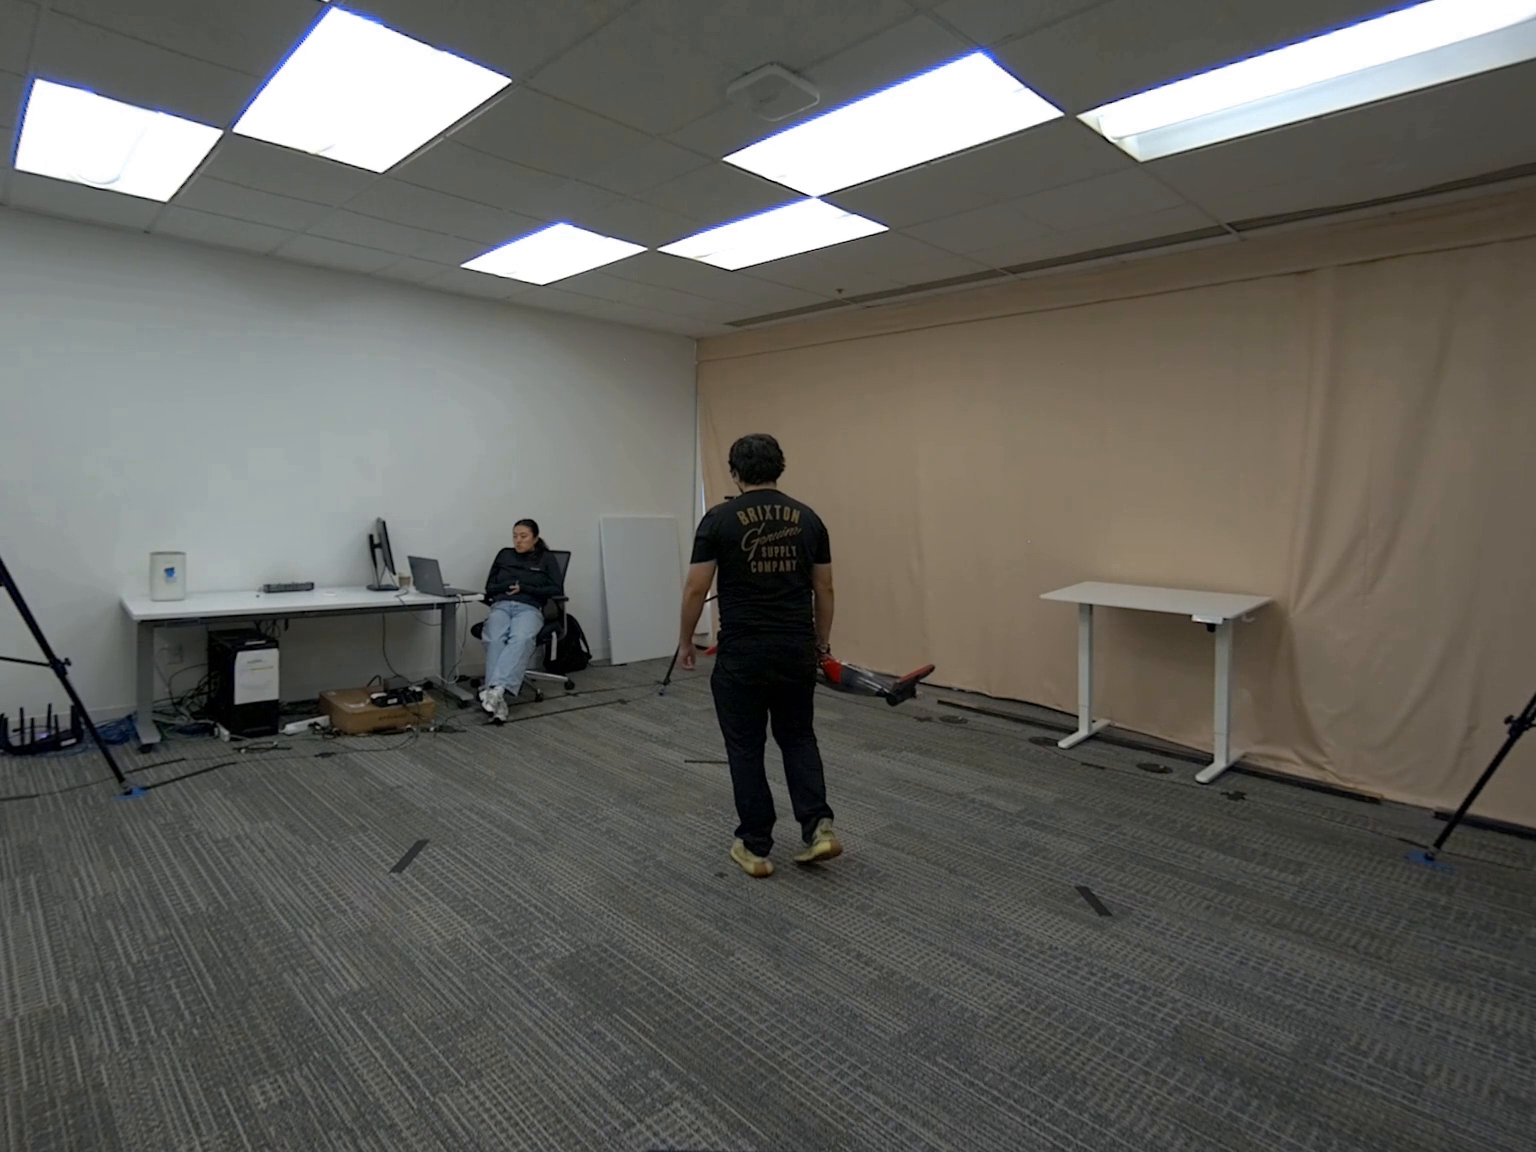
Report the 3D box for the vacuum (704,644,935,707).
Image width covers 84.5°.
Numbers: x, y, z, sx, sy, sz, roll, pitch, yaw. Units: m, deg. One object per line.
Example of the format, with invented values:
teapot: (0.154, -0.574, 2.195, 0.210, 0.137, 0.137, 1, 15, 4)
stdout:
vacuum: (0.124, 0.384, 3.446, 1.075, 0.143, 0.247, 4, 10, 43)
